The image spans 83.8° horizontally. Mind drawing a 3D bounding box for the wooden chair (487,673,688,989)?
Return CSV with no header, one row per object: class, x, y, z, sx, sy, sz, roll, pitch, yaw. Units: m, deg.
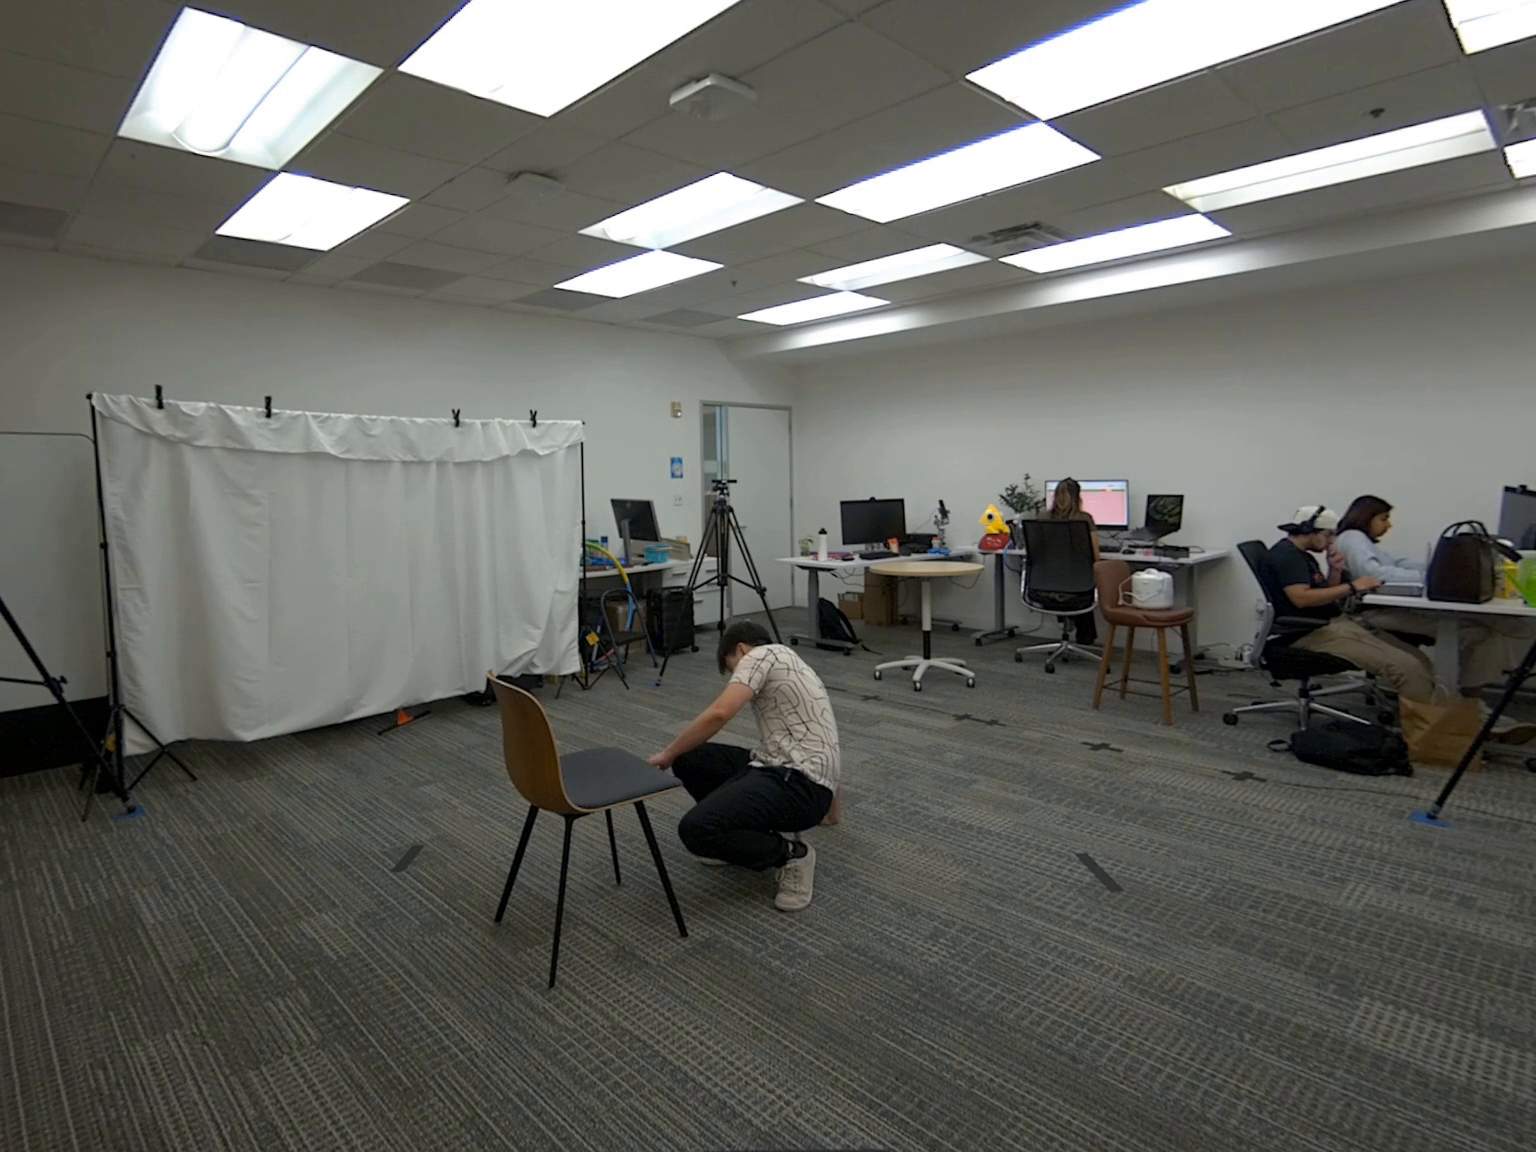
wooden chair,-0.563,0.683,2.650,0.511,0.872,0.492,-10,8,-35
